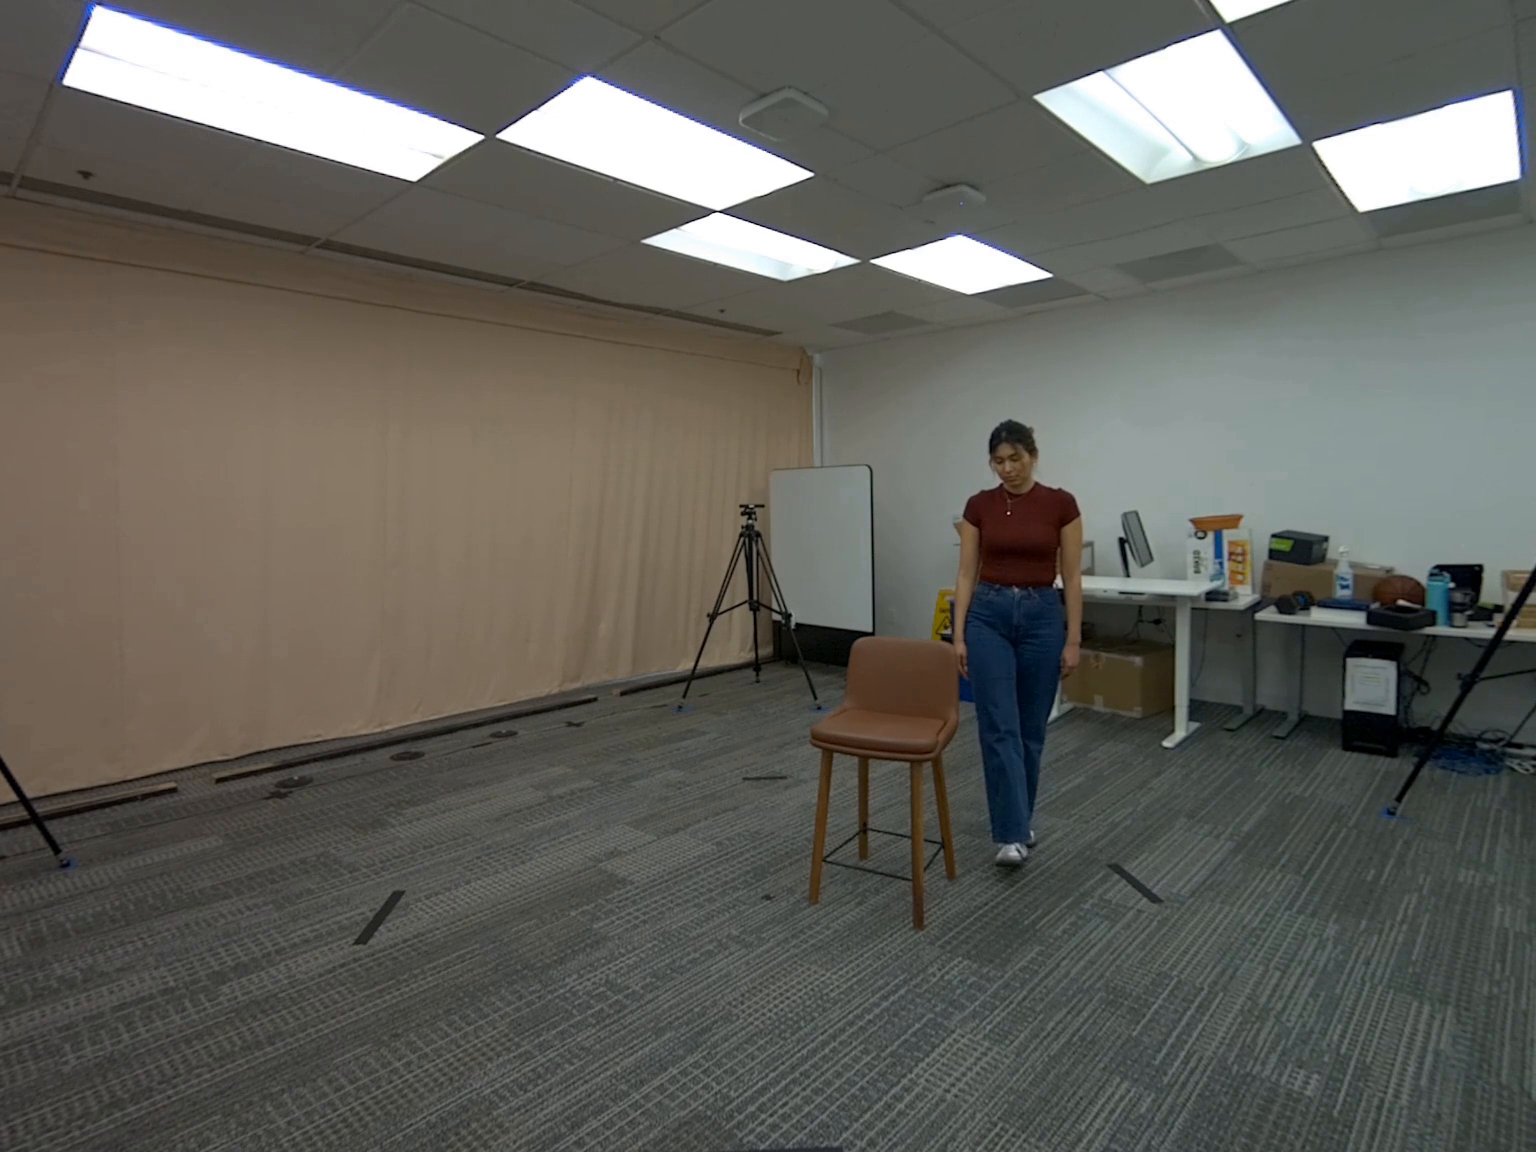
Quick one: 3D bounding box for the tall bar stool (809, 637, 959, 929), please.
[{"bbox_3d":[0.429,0.694,3.004,0.470,0.889,0.454,2,2,31],"label":"tall bar stool"}]
